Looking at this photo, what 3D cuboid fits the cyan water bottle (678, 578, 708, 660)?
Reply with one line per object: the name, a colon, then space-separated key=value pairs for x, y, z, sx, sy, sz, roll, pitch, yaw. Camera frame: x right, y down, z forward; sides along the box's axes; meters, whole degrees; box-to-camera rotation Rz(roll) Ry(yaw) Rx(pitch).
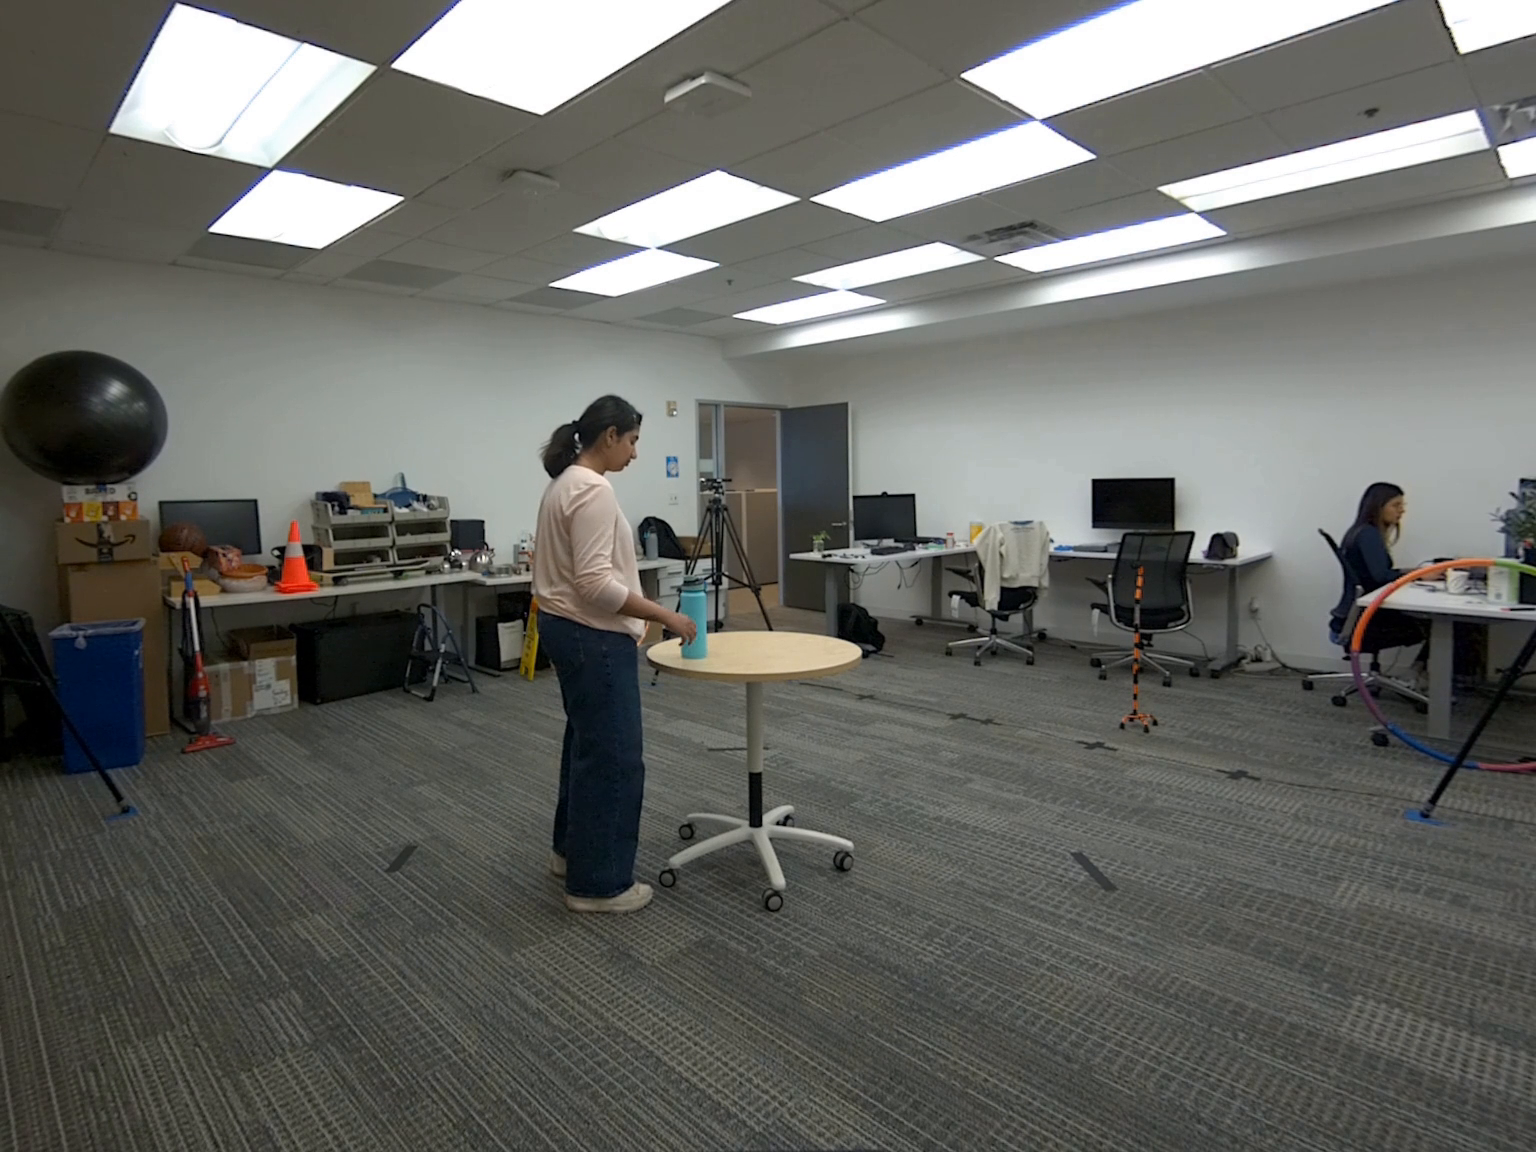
cyan water bottle: x=-0.257 y=0.139 z=2.946 sx=0.092 sy=0.283 sz=0.093 roll=0 pitch=3 yaw=-2
